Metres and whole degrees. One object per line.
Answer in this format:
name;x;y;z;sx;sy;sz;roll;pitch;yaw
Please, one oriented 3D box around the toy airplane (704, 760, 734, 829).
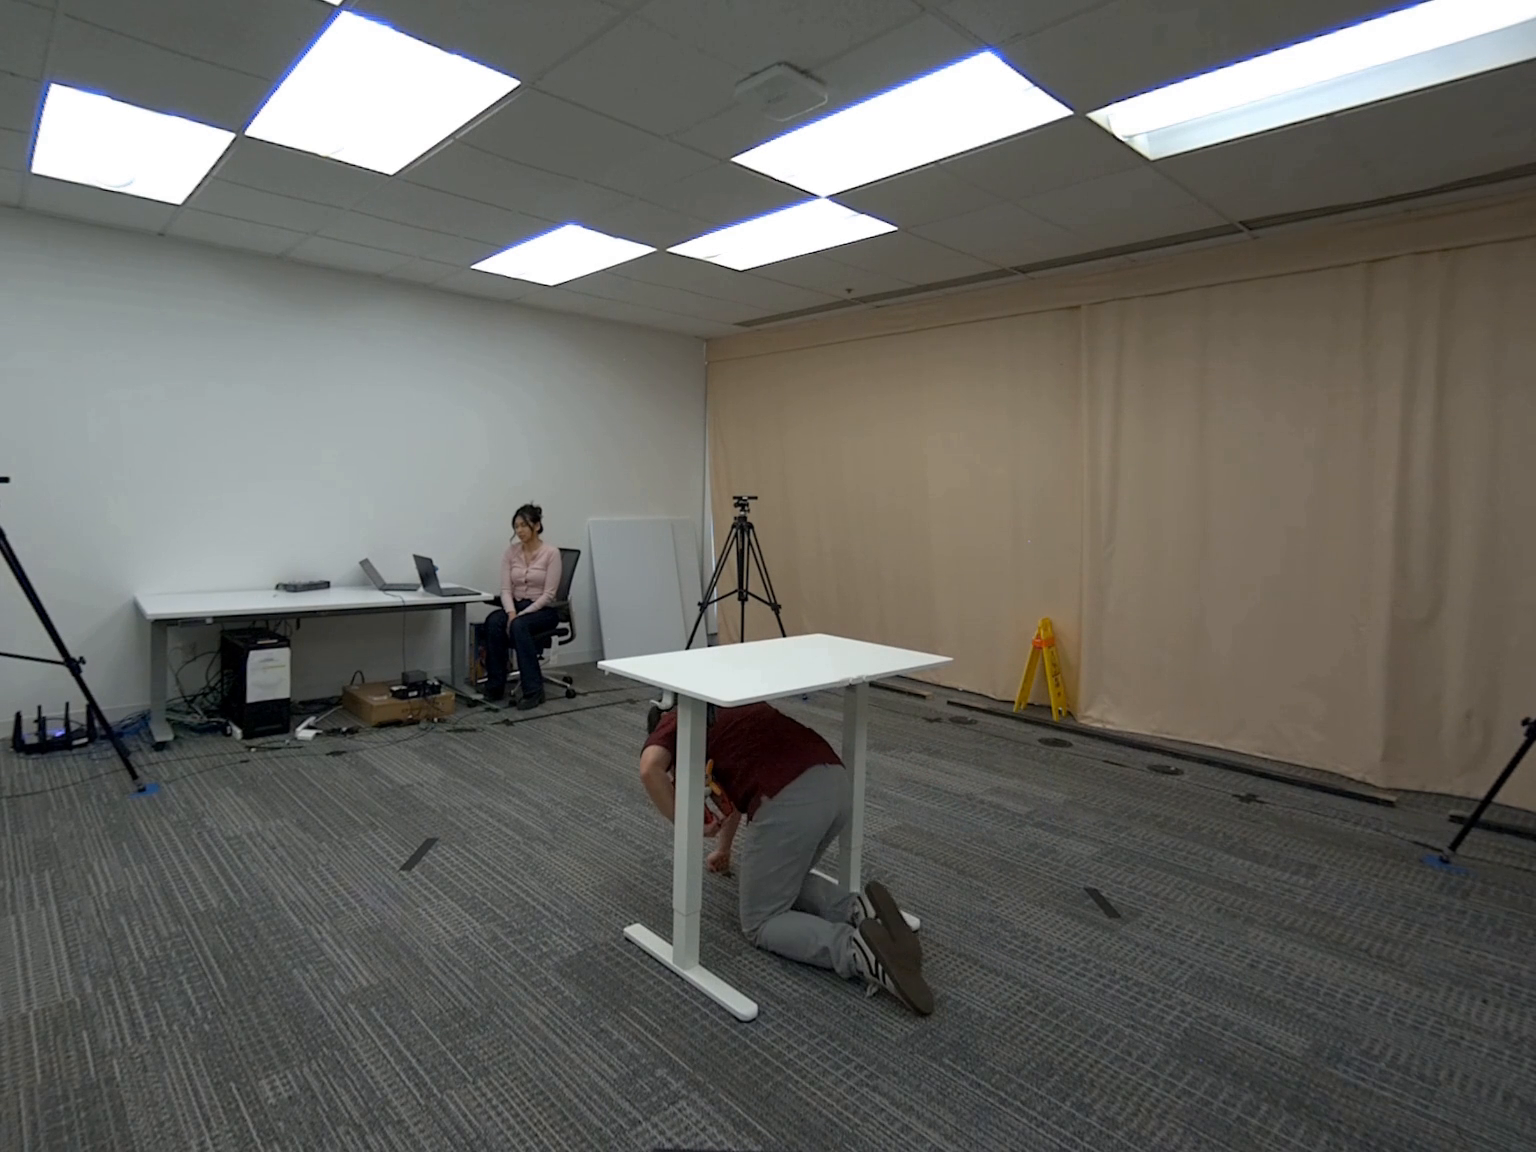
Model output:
toy airplane;-0.257;0.705;2.810;0.155;0.250;0.262;-29;7;-22
